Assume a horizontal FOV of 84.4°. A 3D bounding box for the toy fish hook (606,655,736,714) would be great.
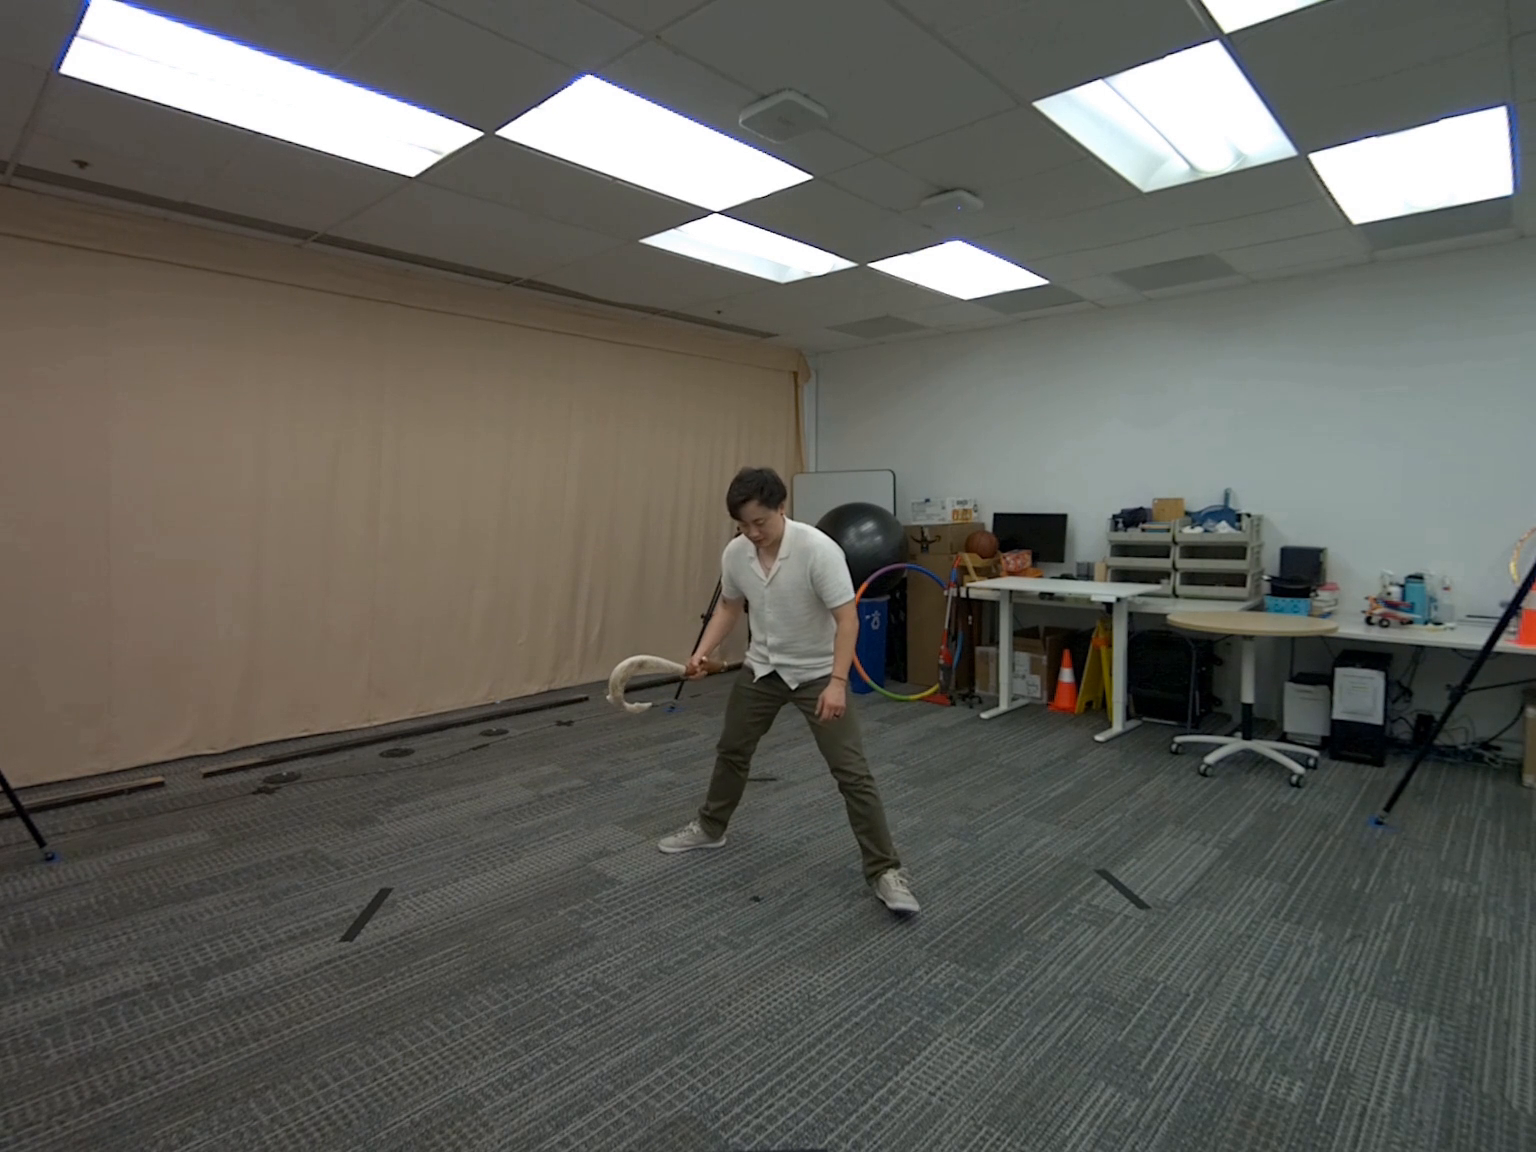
[{"bbox_3d":[-0.366,0.399,3.093,0.491,0.223,0.050,4,20,-35],"label":"toy fish hook"}]
